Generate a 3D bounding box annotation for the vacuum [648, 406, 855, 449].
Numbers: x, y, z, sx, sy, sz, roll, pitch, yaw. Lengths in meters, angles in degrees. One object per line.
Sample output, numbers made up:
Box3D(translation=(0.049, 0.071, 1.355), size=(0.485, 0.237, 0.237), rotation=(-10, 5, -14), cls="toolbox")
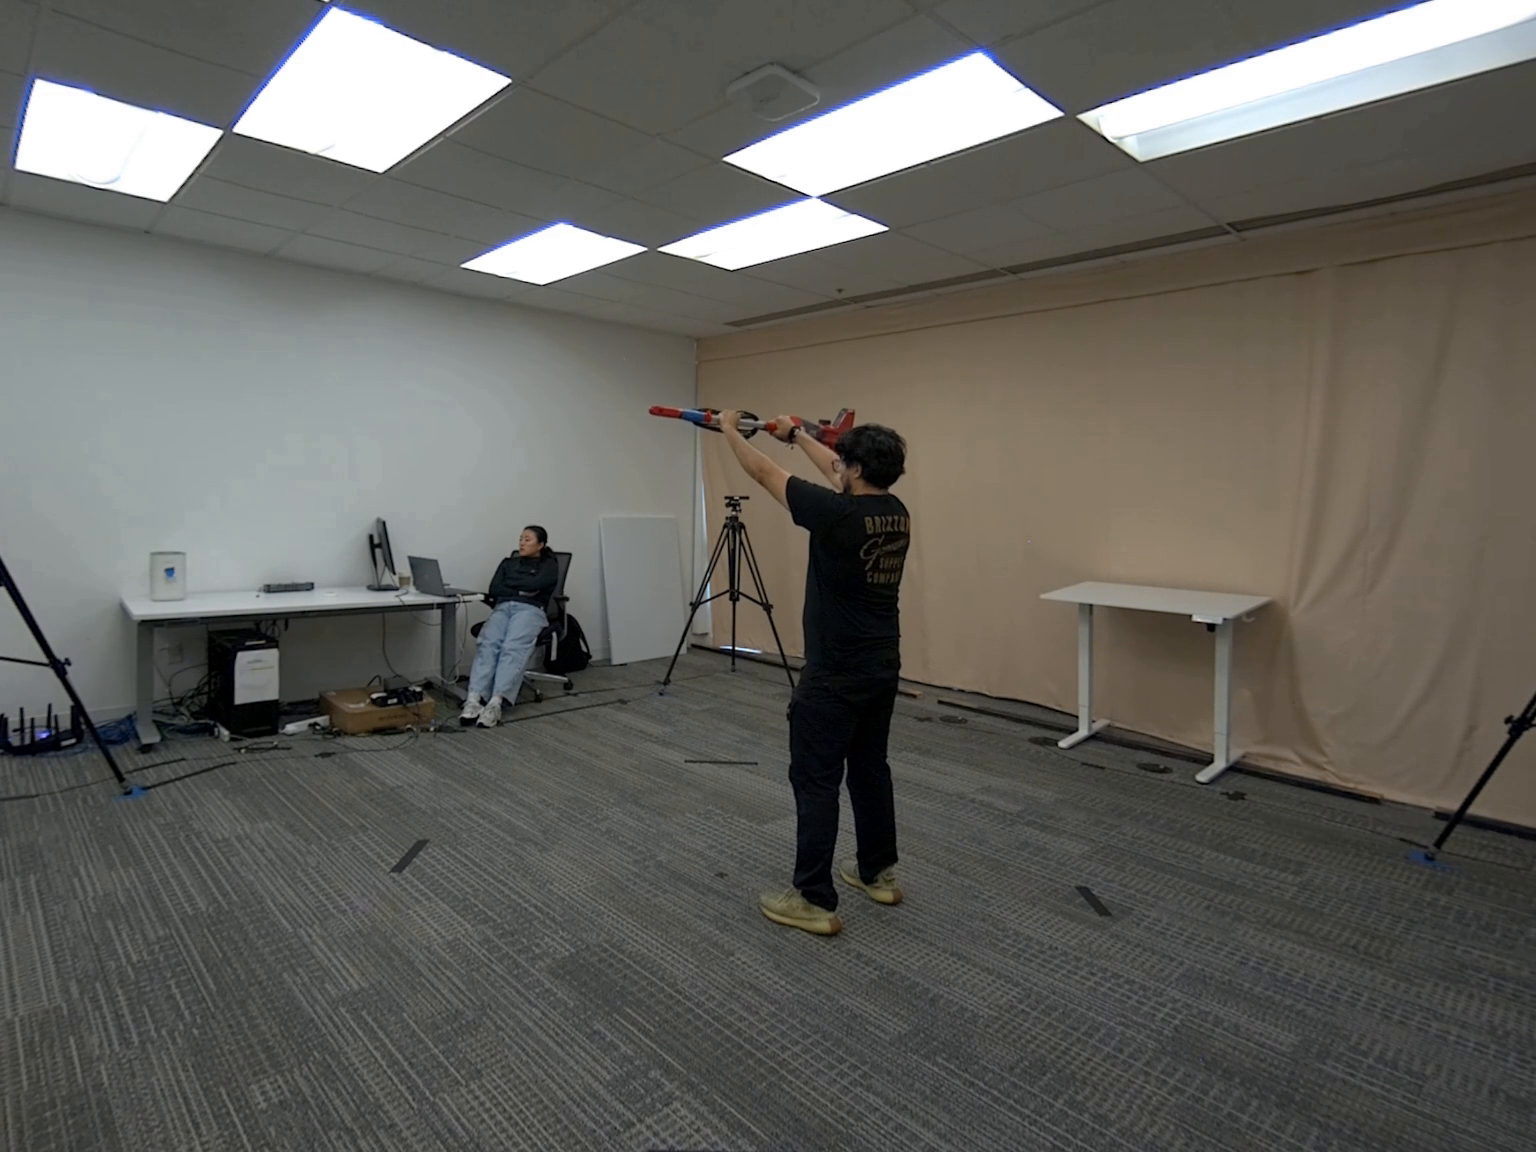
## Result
Box3D(translation=(-0.056, -0.577, 3.206), size=(0.148, 0.251, 1.025), rotation=(20, 15, 39), cls="vacuum")
